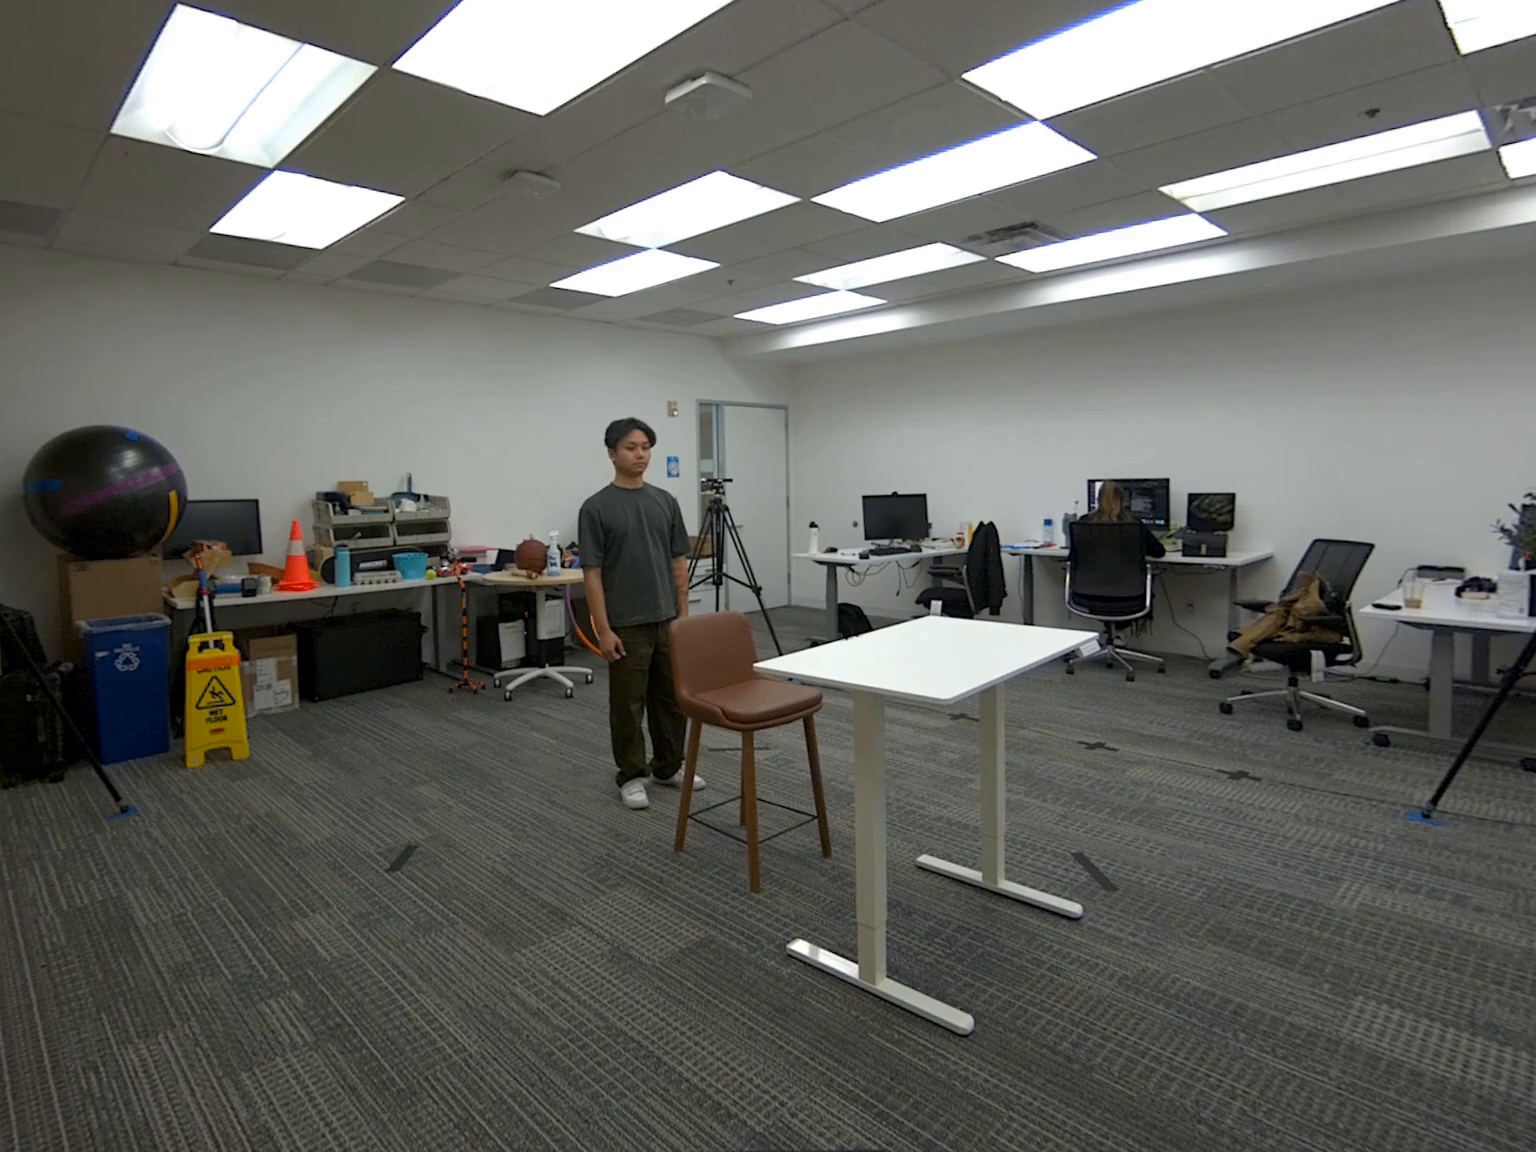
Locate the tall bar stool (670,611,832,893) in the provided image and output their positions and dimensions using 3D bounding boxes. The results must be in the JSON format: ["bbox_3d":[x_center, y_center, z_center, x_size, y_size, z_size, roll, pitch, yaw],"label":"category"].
[{"bbox_3d":[-0.076,0.601,3.171,0.444,0.888,0.481,-4,4,-44],"label":"tall bar stool"}]
